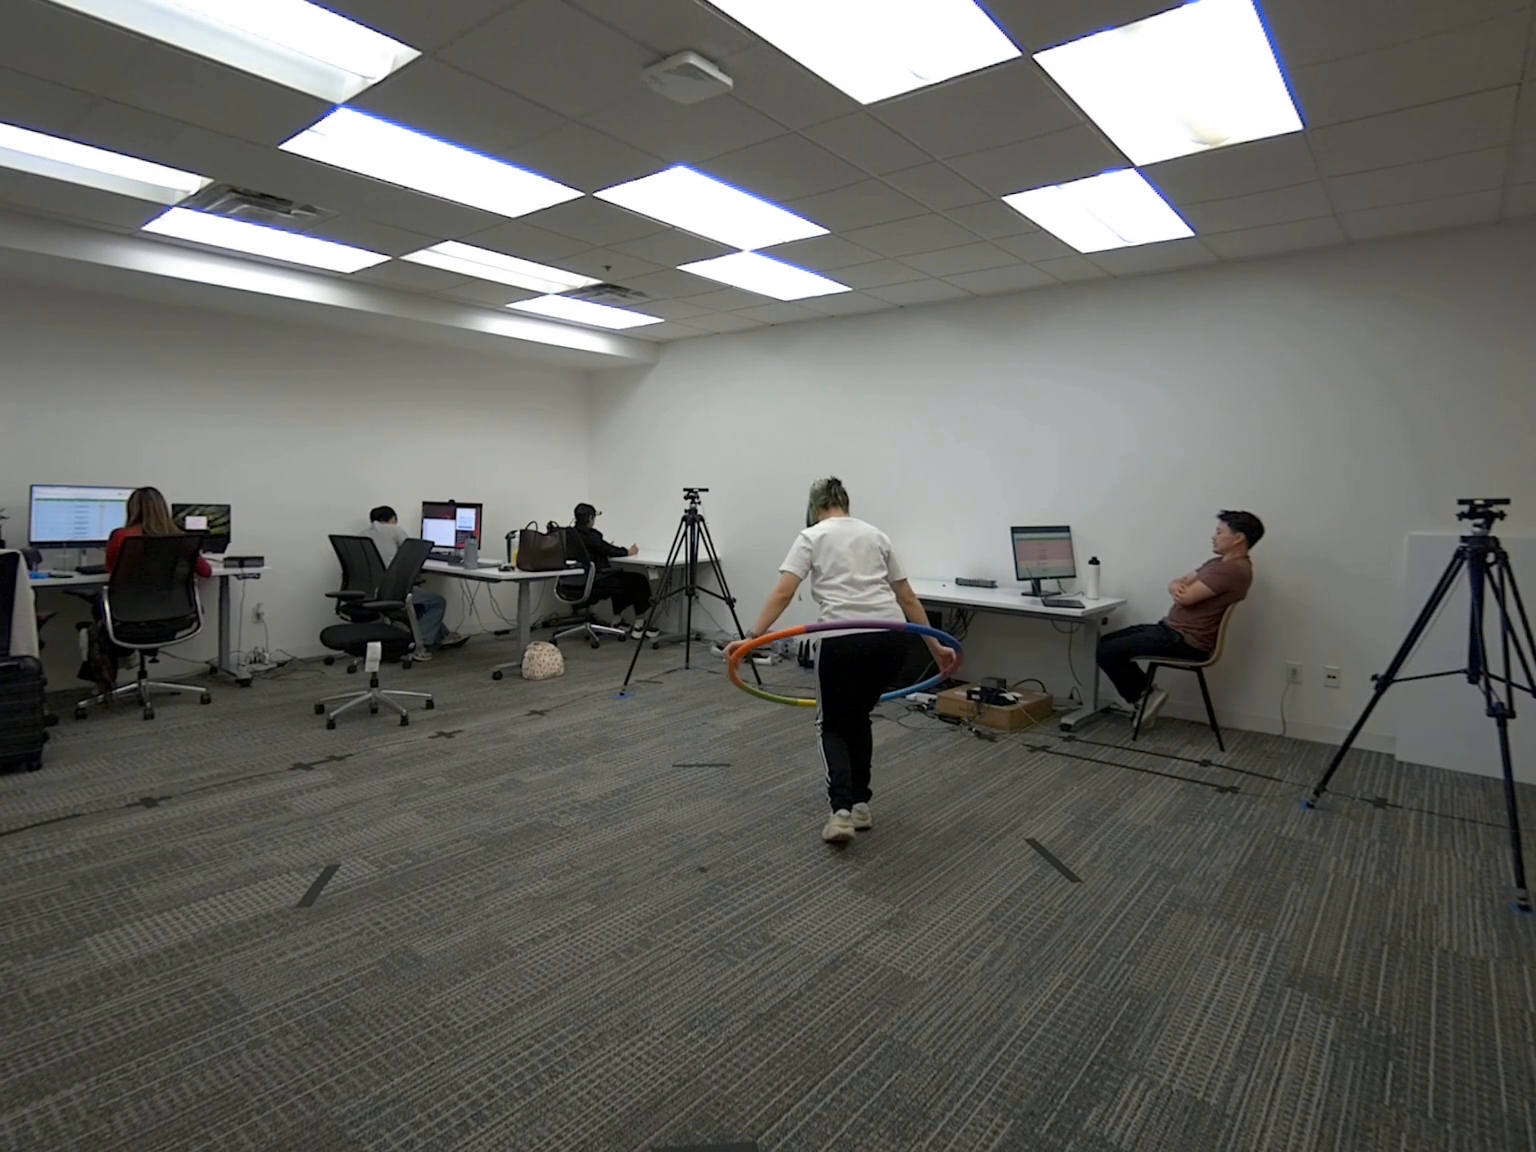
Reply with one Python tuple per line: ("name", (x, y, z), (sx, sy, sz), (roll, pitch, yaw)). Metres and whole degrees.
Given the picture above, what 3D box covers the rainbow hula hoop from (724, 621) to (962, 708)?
("rainbow hula hoop", (0.308, 0.384, 3.555), (0.984, 0.053, 0.963), (0, -27, -2))
